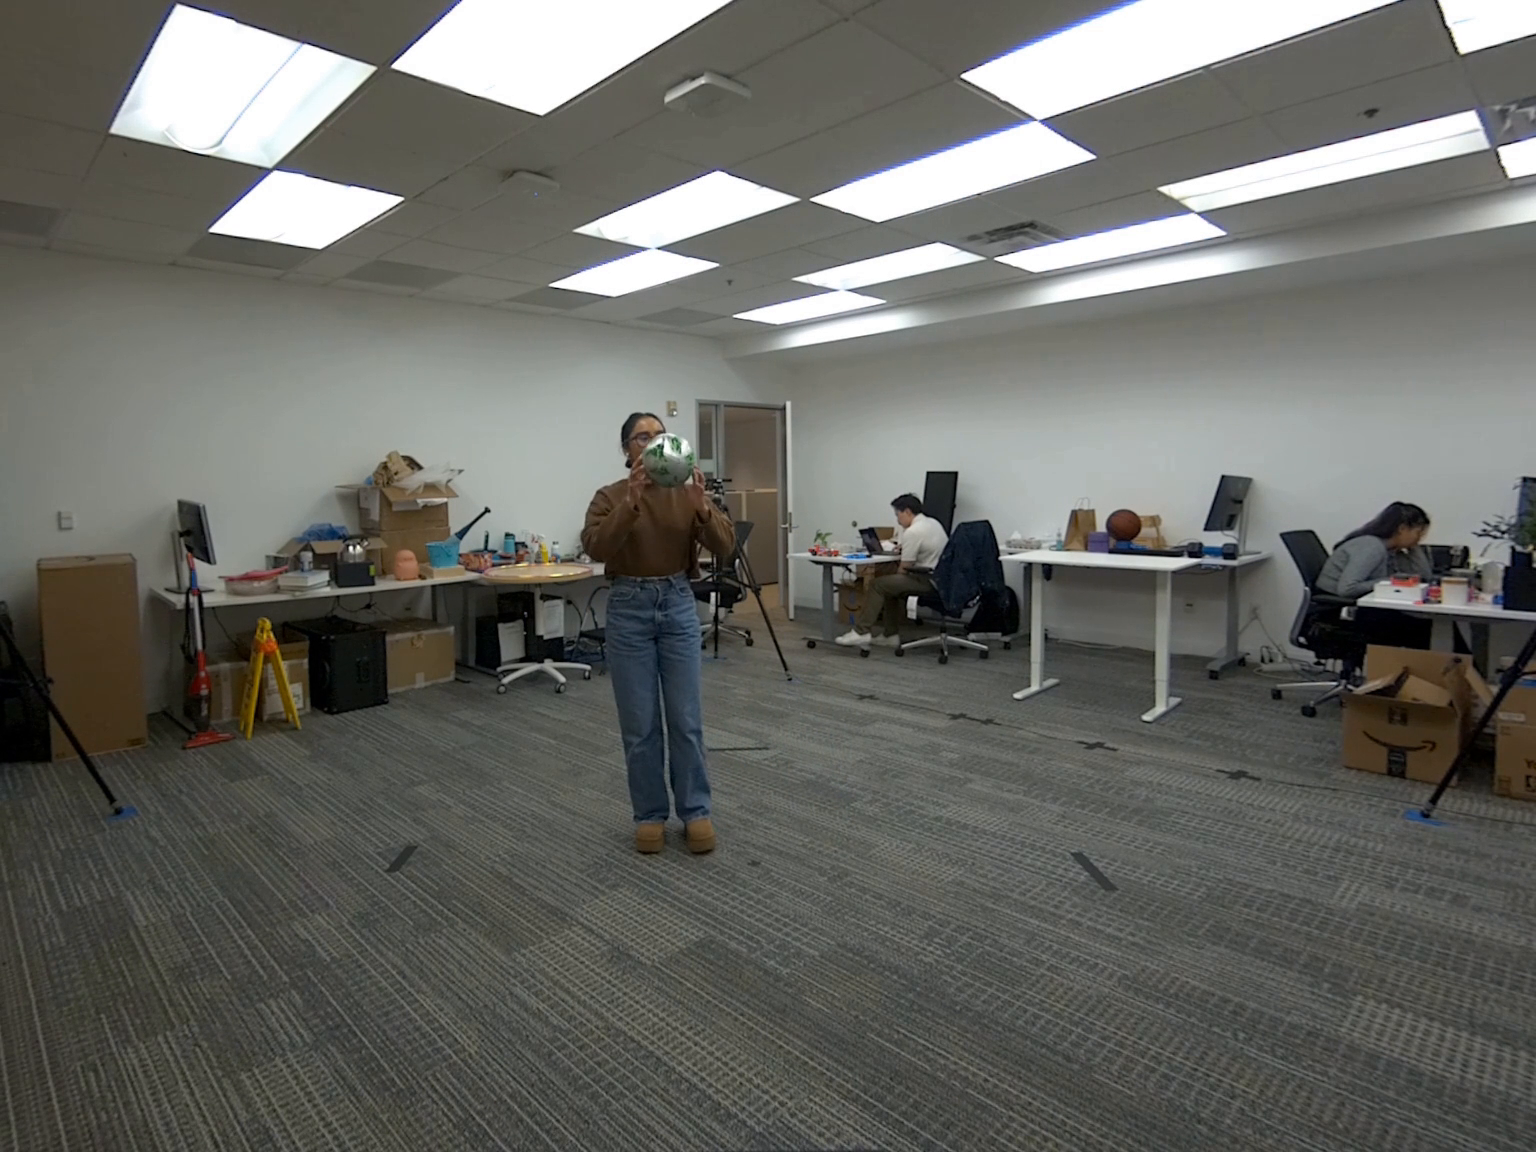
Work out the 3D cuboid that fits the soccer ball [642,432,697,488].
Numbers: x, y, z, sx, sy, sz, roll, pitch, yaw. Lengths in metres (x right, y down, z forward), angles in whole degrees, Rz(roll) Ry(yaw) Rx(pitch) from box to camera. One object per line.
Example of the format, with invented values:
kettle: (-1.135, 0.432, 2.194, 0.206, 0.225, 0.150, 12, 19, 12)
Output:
soccer ball: (-0.347, -0.392, 2.955, 0.187, 0.187, 0.188, -1, 5, -2)
